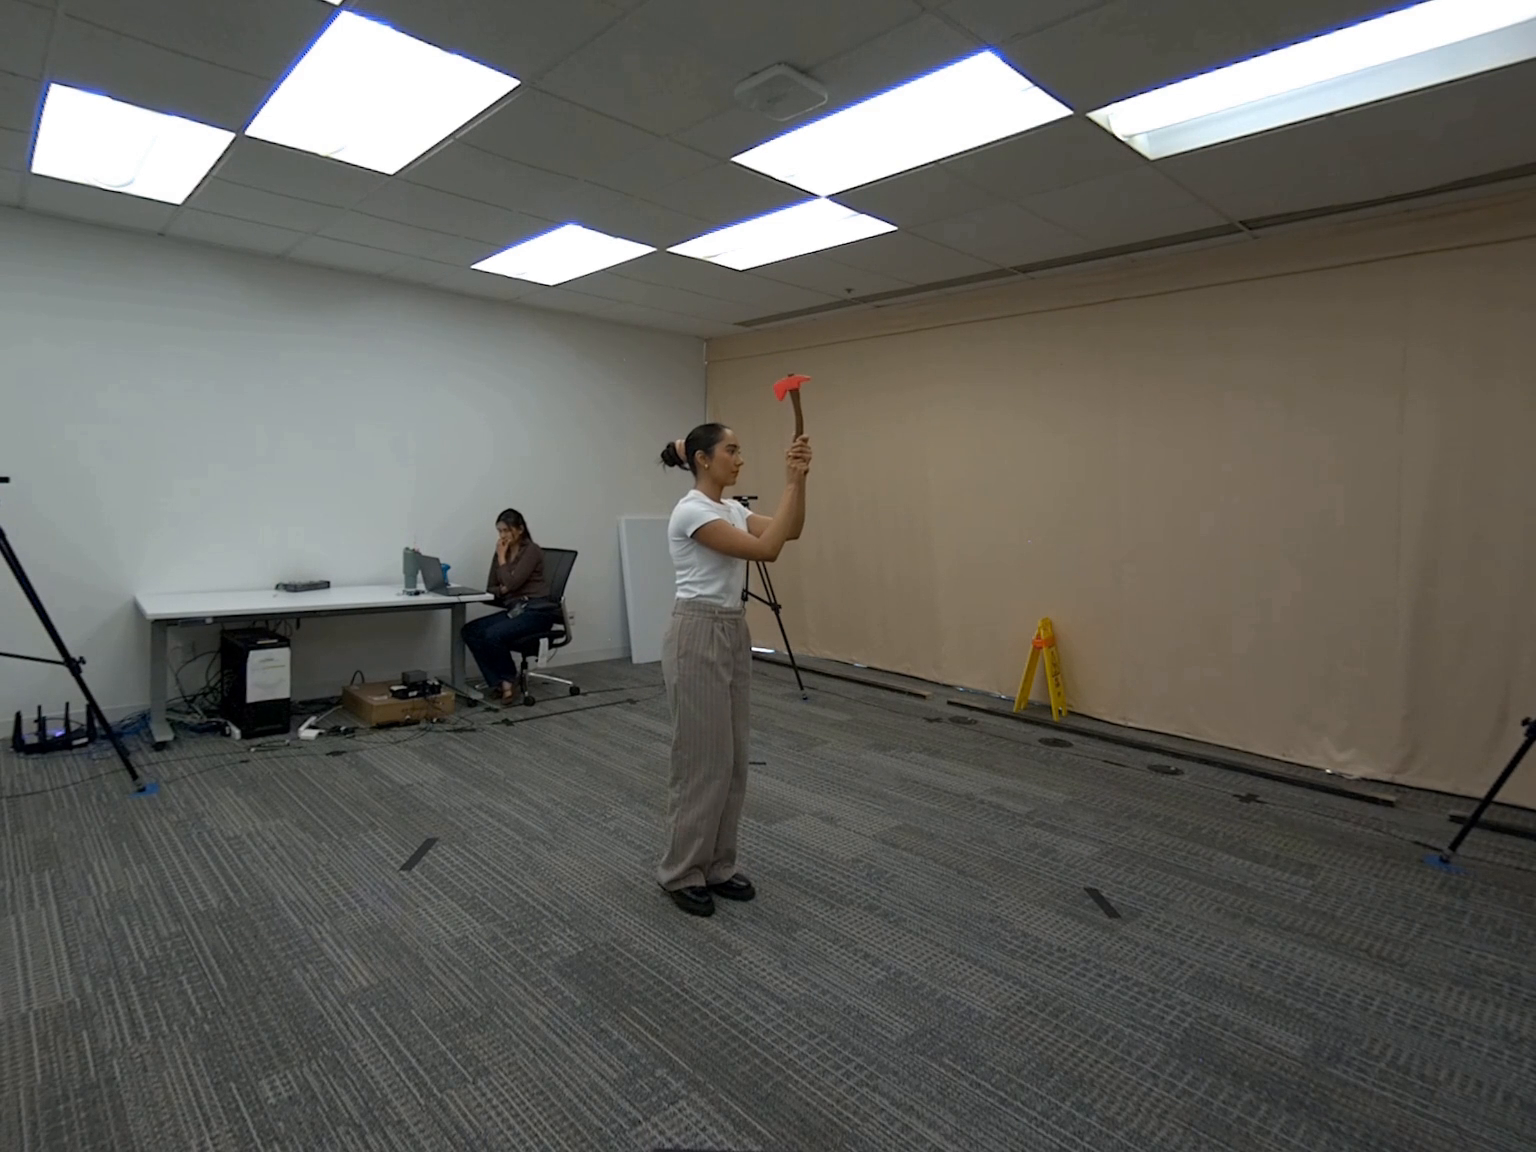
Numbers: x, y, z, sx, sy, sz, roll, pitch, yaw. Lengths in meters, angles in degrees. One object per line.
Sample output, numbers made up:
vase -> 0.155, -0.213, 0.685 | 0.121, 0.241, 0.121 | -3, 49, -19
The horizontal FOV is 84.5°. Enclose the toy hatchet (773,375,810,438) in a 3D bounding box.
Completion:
toy hatchet -> 0.056, -0.533, 2.760 | 0.133, 0.268, 0.029 | 11, 9, 19
